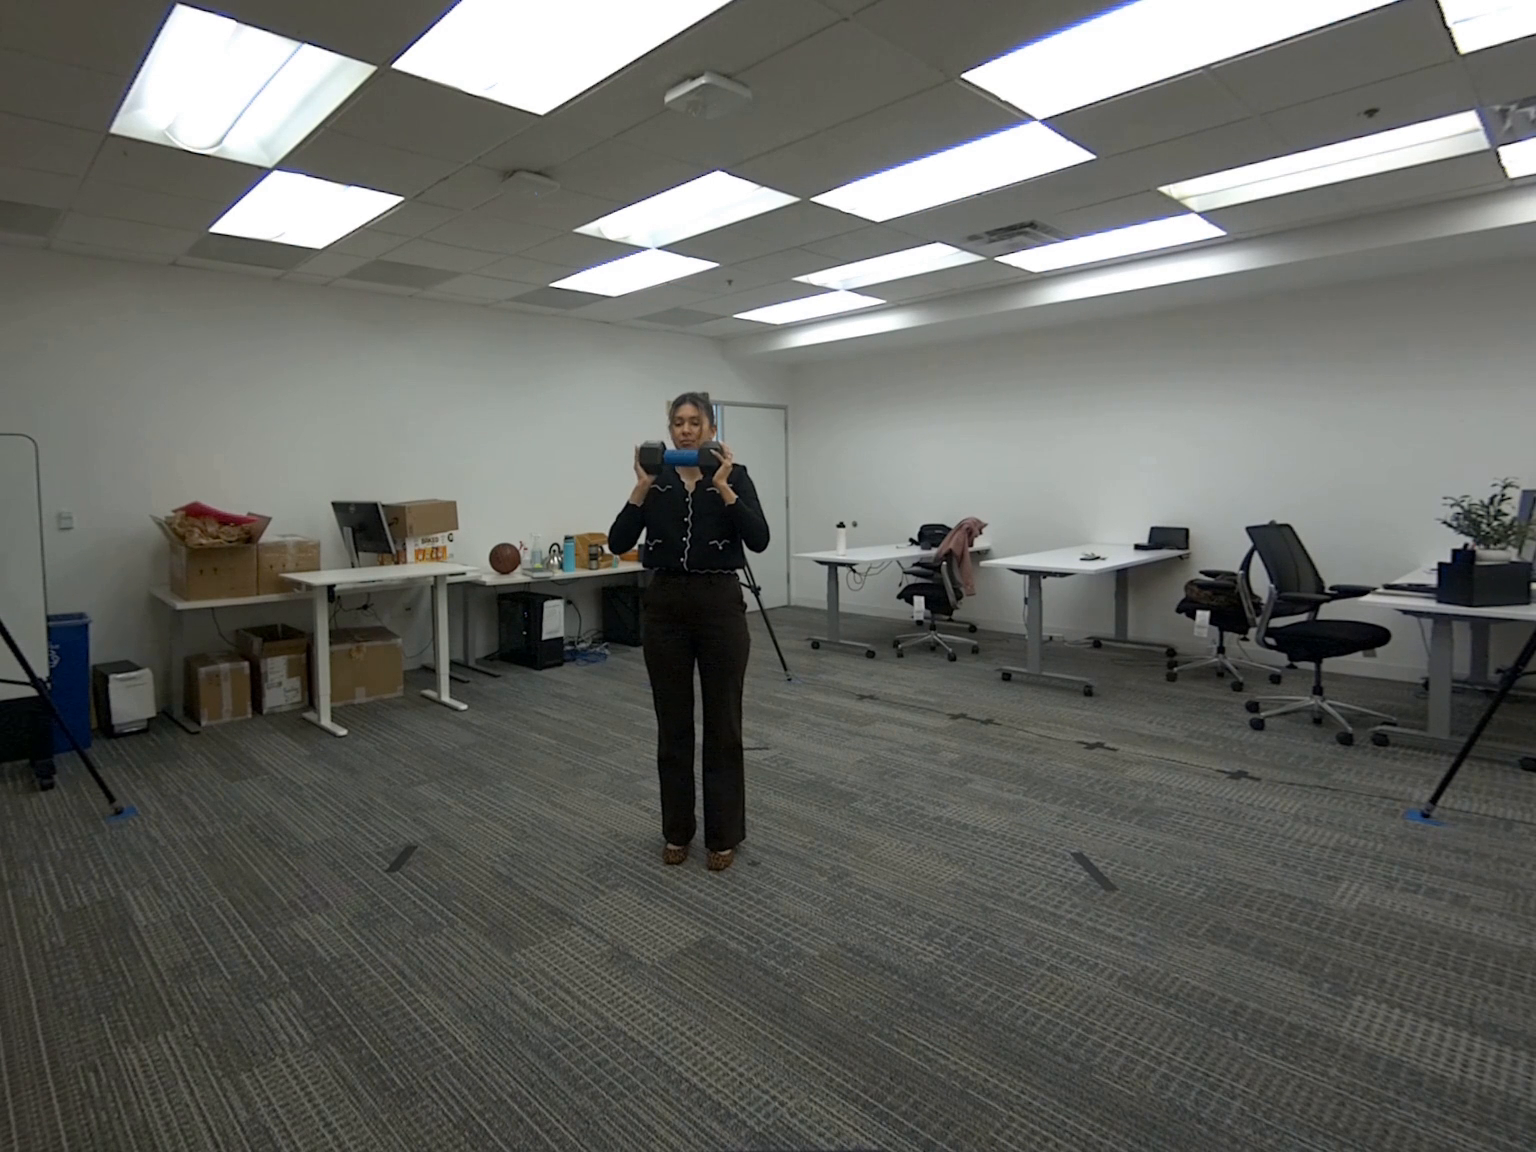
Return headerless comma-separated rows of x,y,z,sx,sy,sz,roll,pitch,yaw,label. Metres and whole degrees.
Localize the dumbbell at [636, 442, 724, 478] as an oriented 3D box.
-0.302,-0.401,2.989,0.298,0.106,0.124,8,31,15,dumbbell
